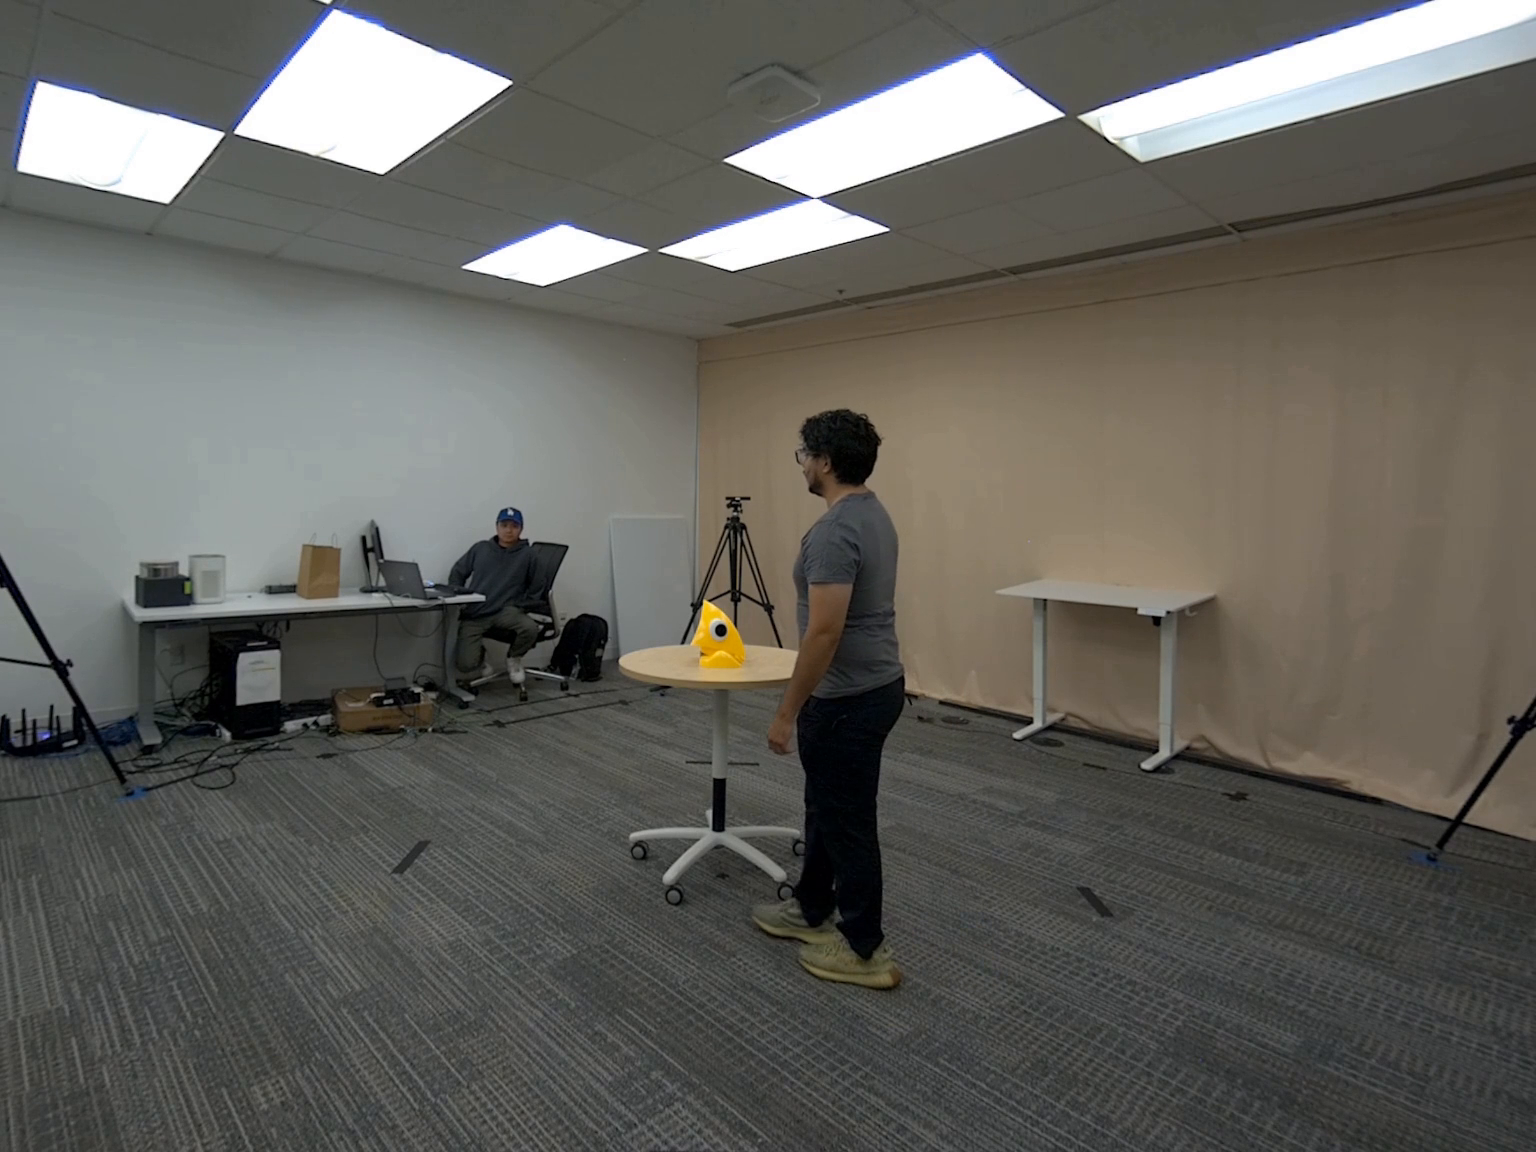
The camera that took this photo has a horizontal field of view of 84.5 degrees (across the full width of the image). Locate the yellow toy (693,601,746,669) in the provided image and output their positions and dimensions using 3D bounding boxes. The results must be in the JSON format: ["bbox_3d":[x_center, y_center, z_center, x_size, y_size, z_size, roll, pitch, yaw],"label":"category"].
[{"bbox_3d":[-0.186,0.206,3.101,0.194,0.230,0.204,2,4,5],"label":"yellow toy"}]
